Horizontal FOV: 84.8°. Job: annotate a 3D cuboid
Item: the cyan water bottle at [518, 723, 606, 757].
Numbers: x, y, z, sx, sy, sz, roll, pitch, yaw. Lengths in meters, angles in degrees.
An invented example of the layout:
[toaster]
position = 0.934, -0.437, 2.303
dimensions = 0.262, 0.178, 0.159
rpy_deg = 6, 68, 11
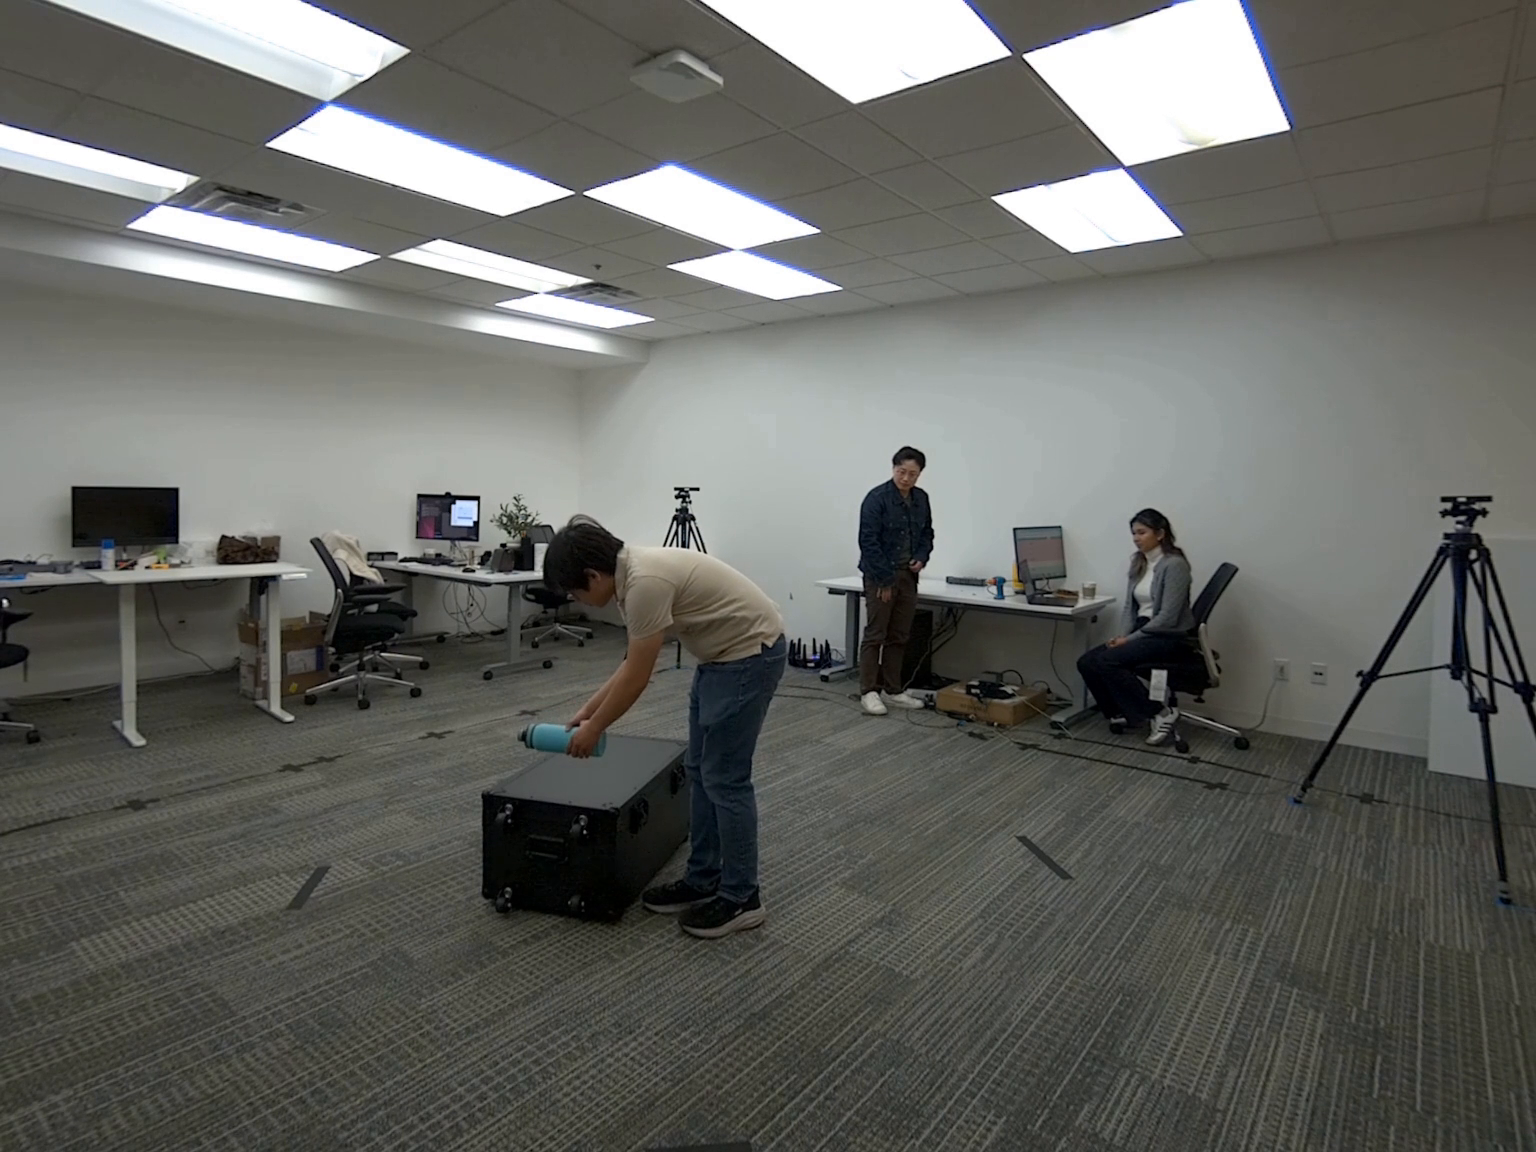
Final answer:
[cyan water bottle]
position = -0.693, 0.538, 2.804
dimensions = 0.286, 0.092, 0.092
rpy_deg = 3, 4, 8
